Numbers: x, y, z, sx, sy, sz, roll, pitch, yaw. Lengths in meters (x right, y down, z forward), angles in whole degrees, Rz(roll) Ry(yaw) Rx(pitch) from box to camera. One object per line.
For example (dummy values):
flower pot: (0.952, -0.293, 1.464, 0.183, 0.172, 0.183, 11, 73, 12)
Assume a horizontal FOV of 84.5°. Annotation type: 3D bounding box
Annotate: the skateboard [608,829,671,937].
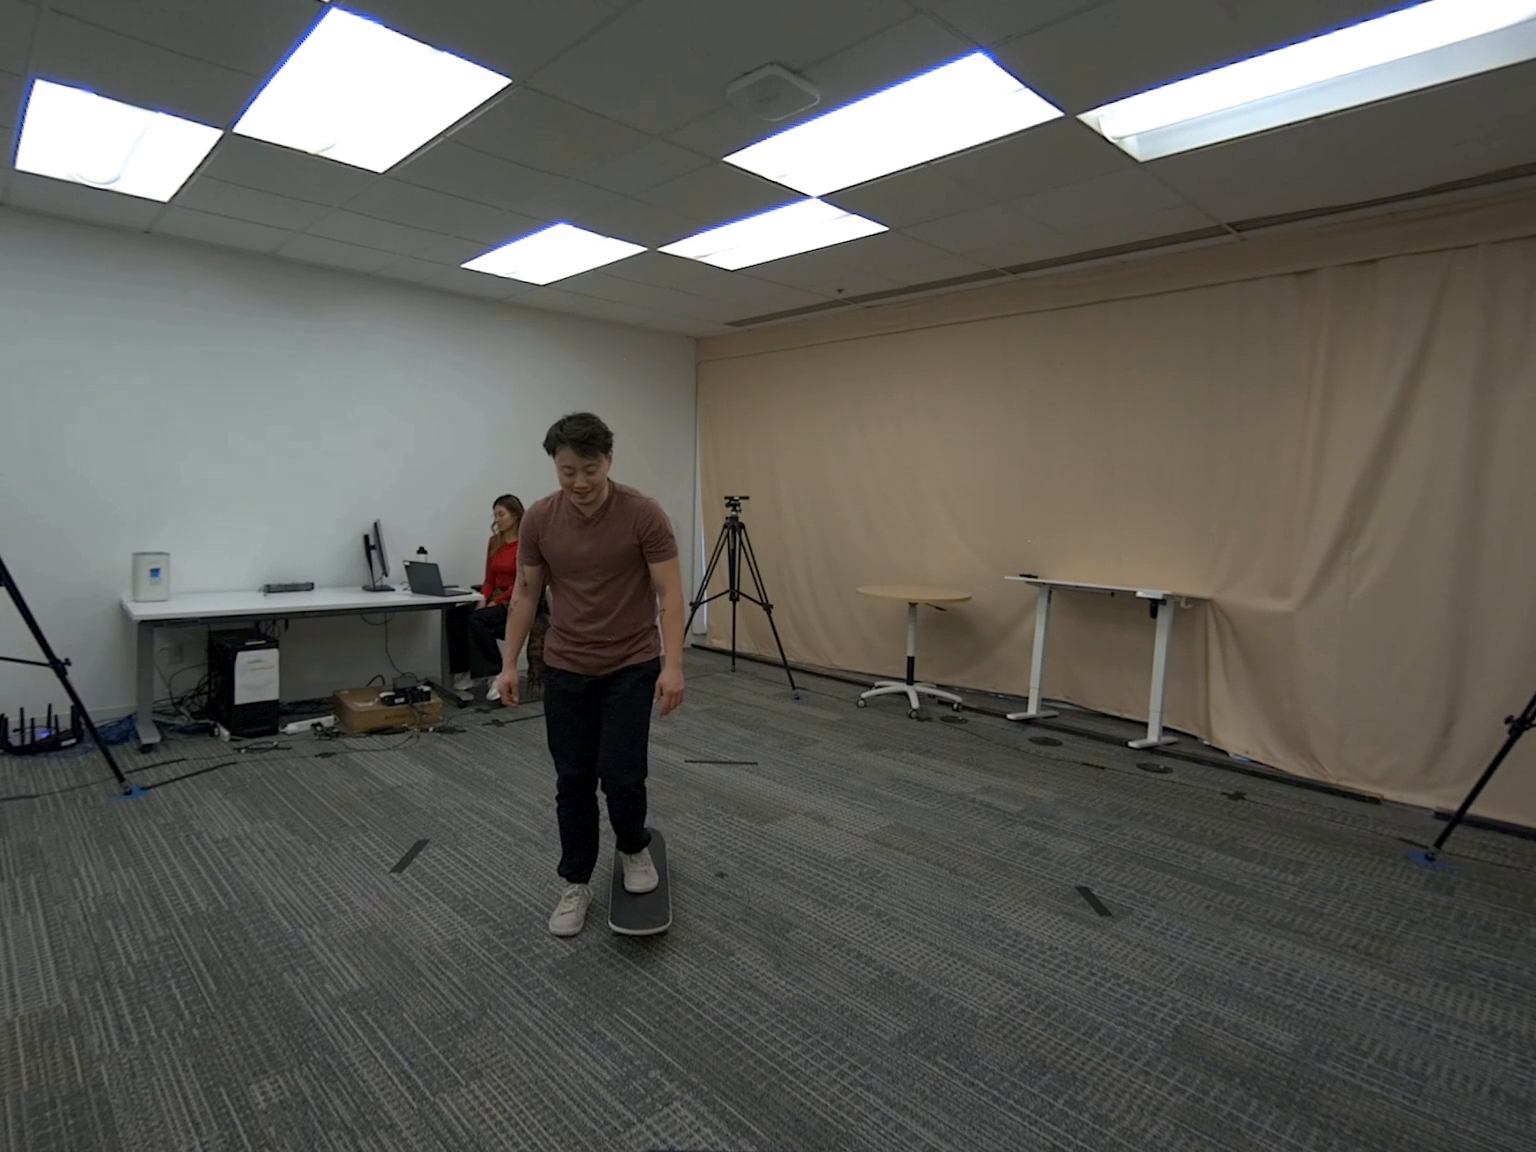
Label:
skateboard: (-0.447, 1.060, 2.871, 0.192, 0.110, 0.793, 1, 6, -9)
